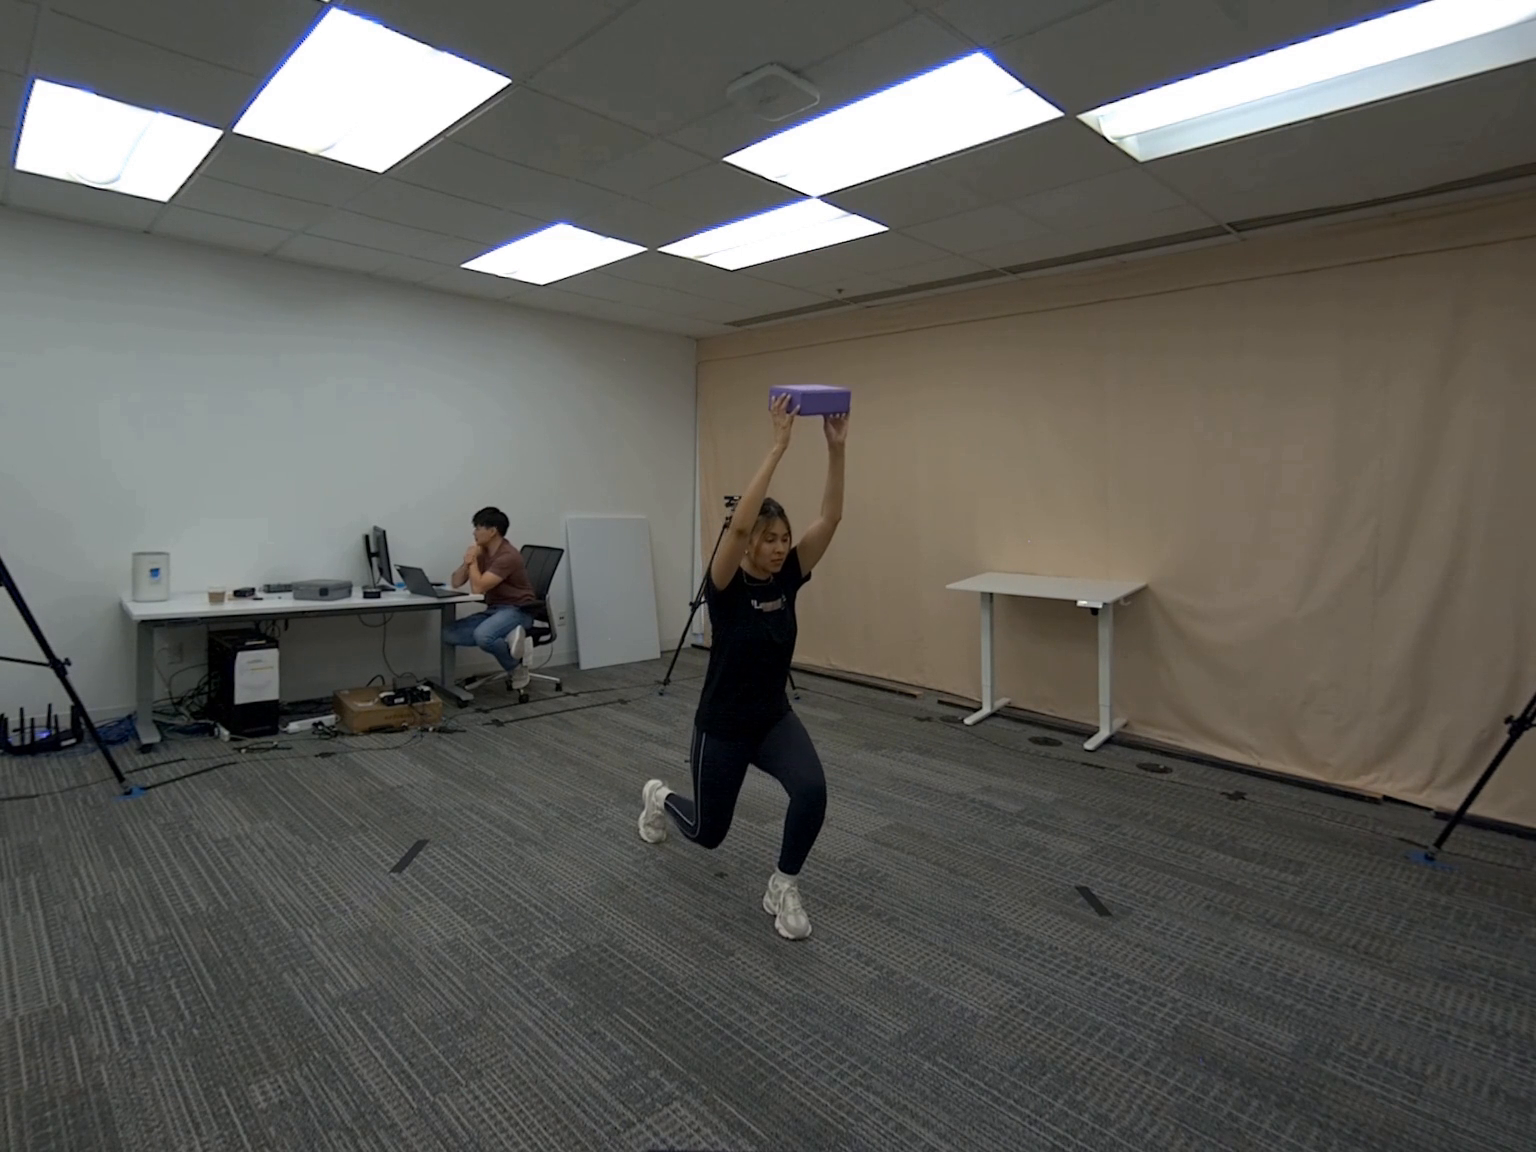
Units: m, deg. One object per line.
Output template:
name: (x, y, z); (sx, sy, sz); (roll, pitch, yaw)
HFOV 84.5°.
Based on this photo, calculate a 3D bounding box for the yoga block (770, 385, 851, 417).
yoga block: (0.129, -0.554, 2.597); (0.225, 0.075, 0.153); (-14, 23, -41)
